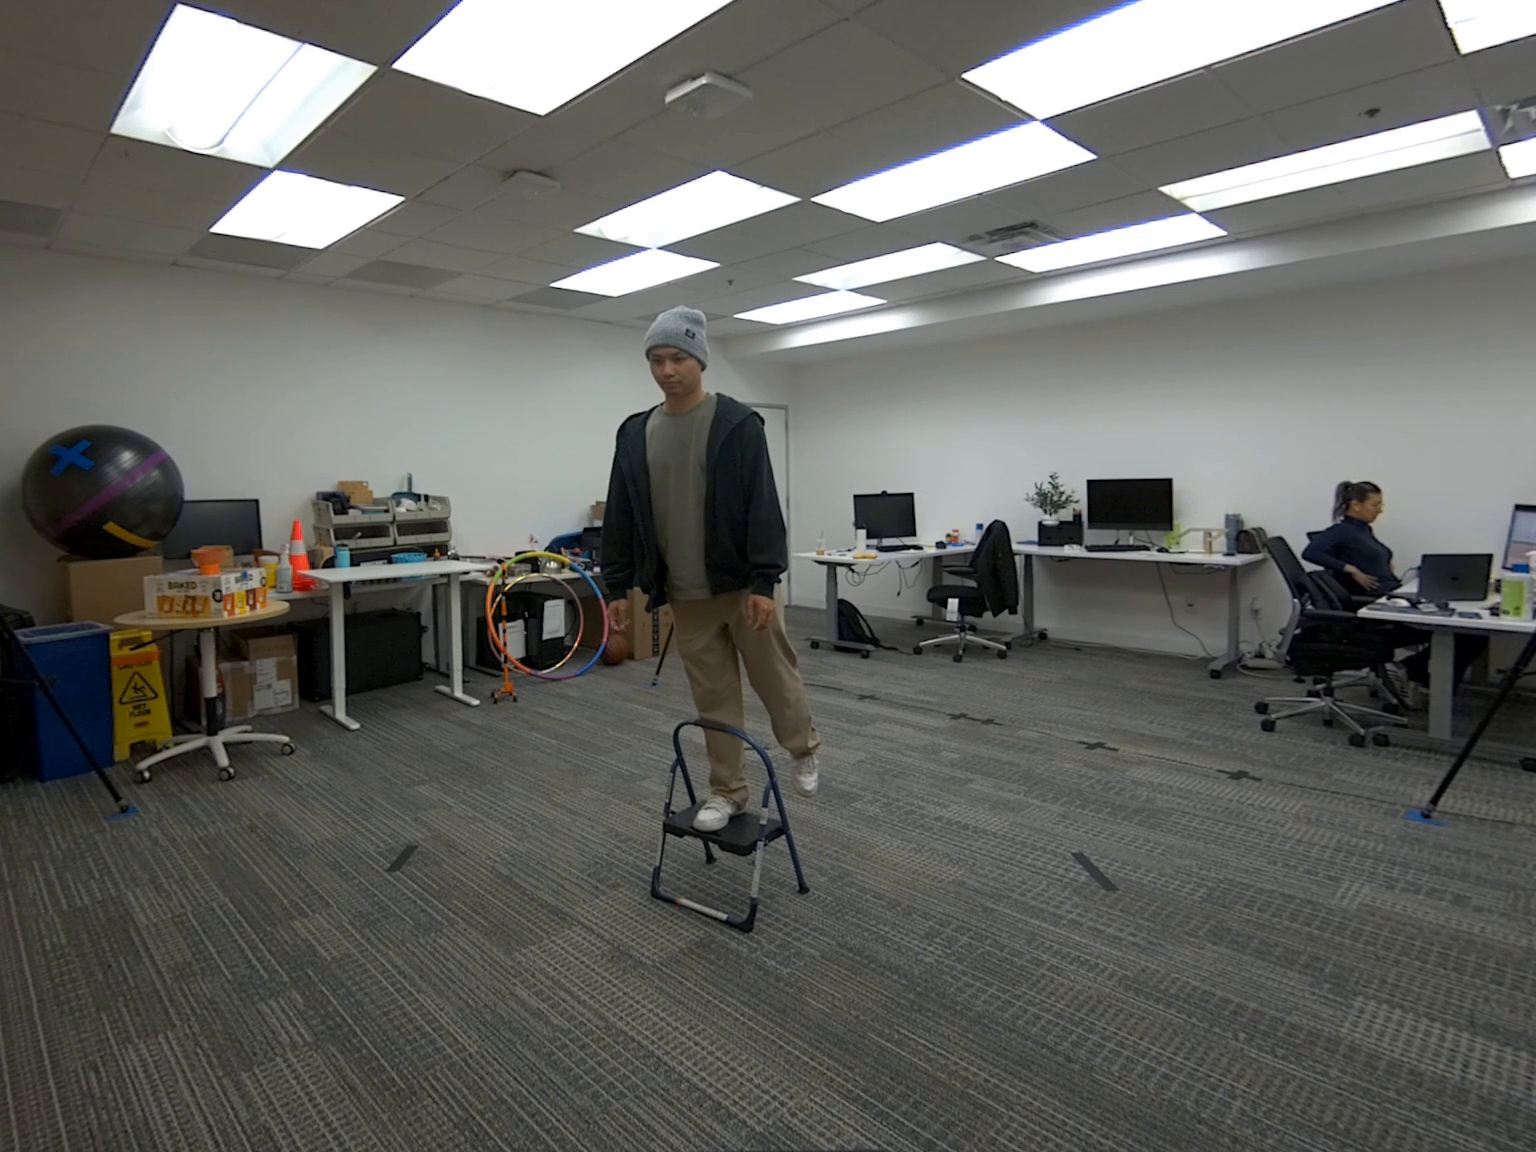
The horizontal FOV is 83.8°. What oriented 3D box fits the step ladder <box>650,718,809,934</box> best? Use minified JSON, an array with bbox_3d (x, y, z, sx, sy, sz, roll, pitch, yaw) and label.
[{"bbox_3d":[-0.134,0.772,2.864,0.443,0.603,0.341,2,6,35],"label":"step ladder"}]
